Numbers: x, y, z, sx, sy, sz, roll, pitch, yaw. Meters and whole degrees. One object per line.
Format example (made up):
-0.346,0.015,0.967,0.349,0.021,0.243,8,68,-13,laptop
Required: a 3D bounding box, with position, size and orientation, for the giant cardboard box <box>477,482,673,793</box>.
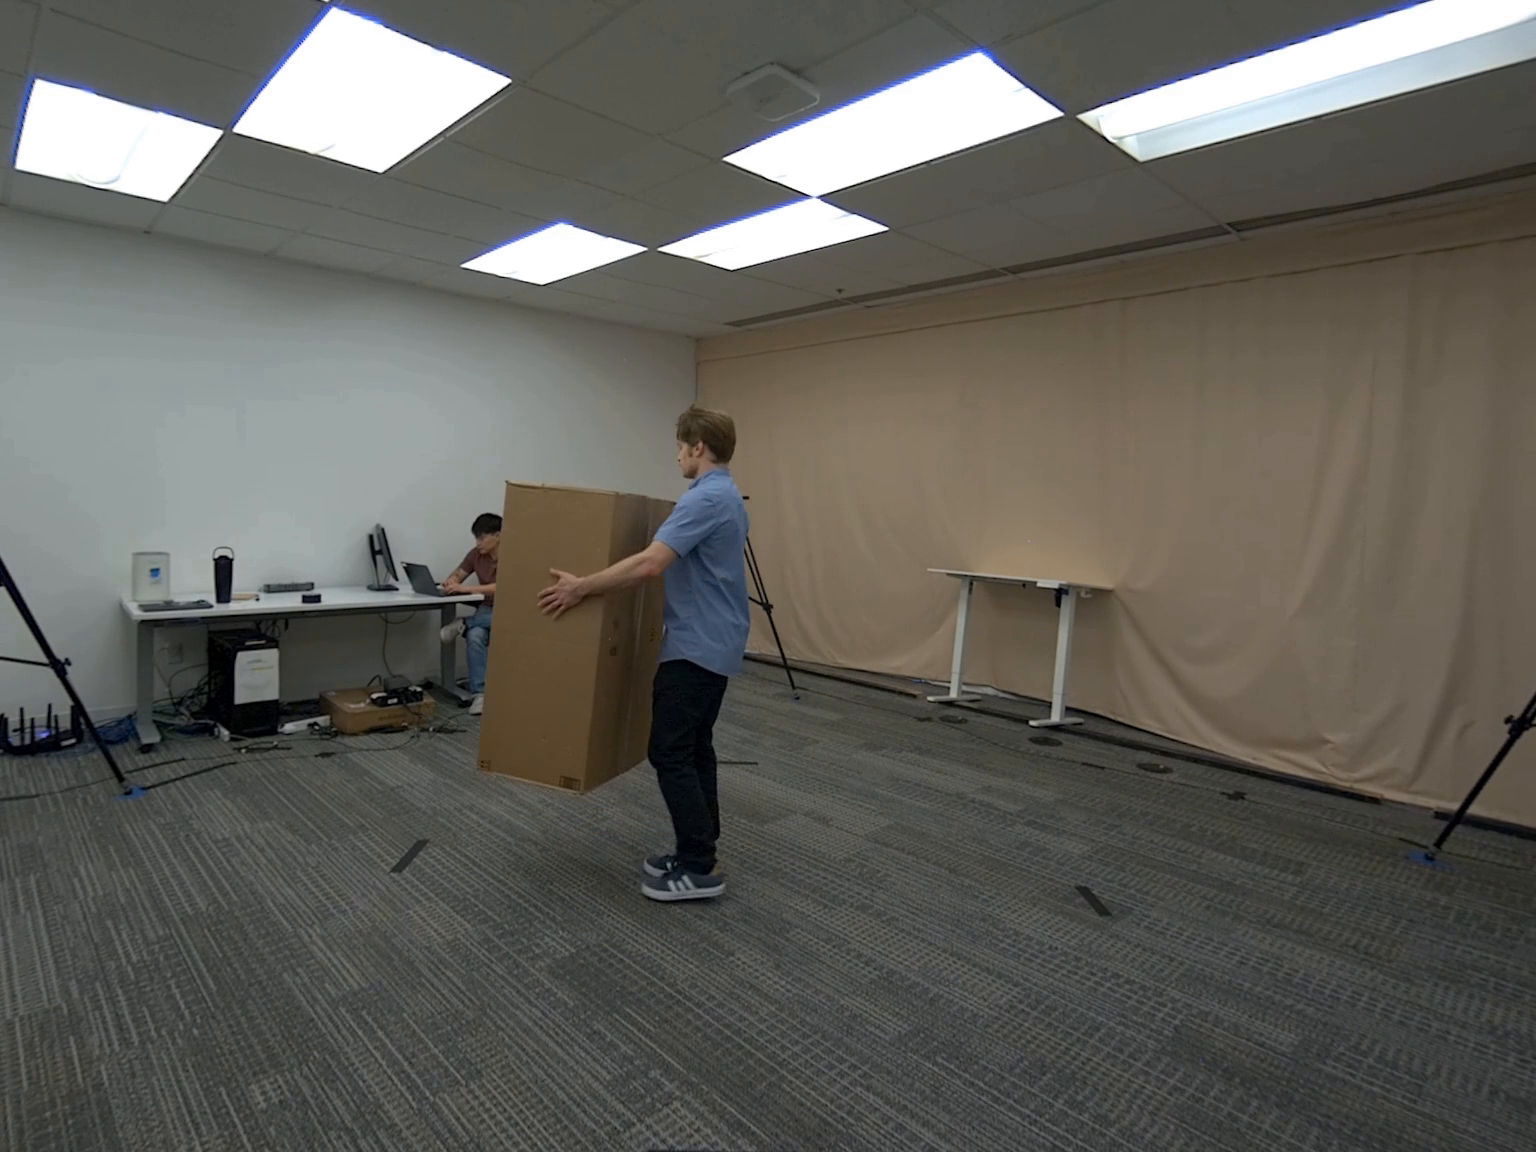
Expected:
-0.690,0.198,3.124,0.433,1.025,0.569,7,2,17,giant cardboard box
